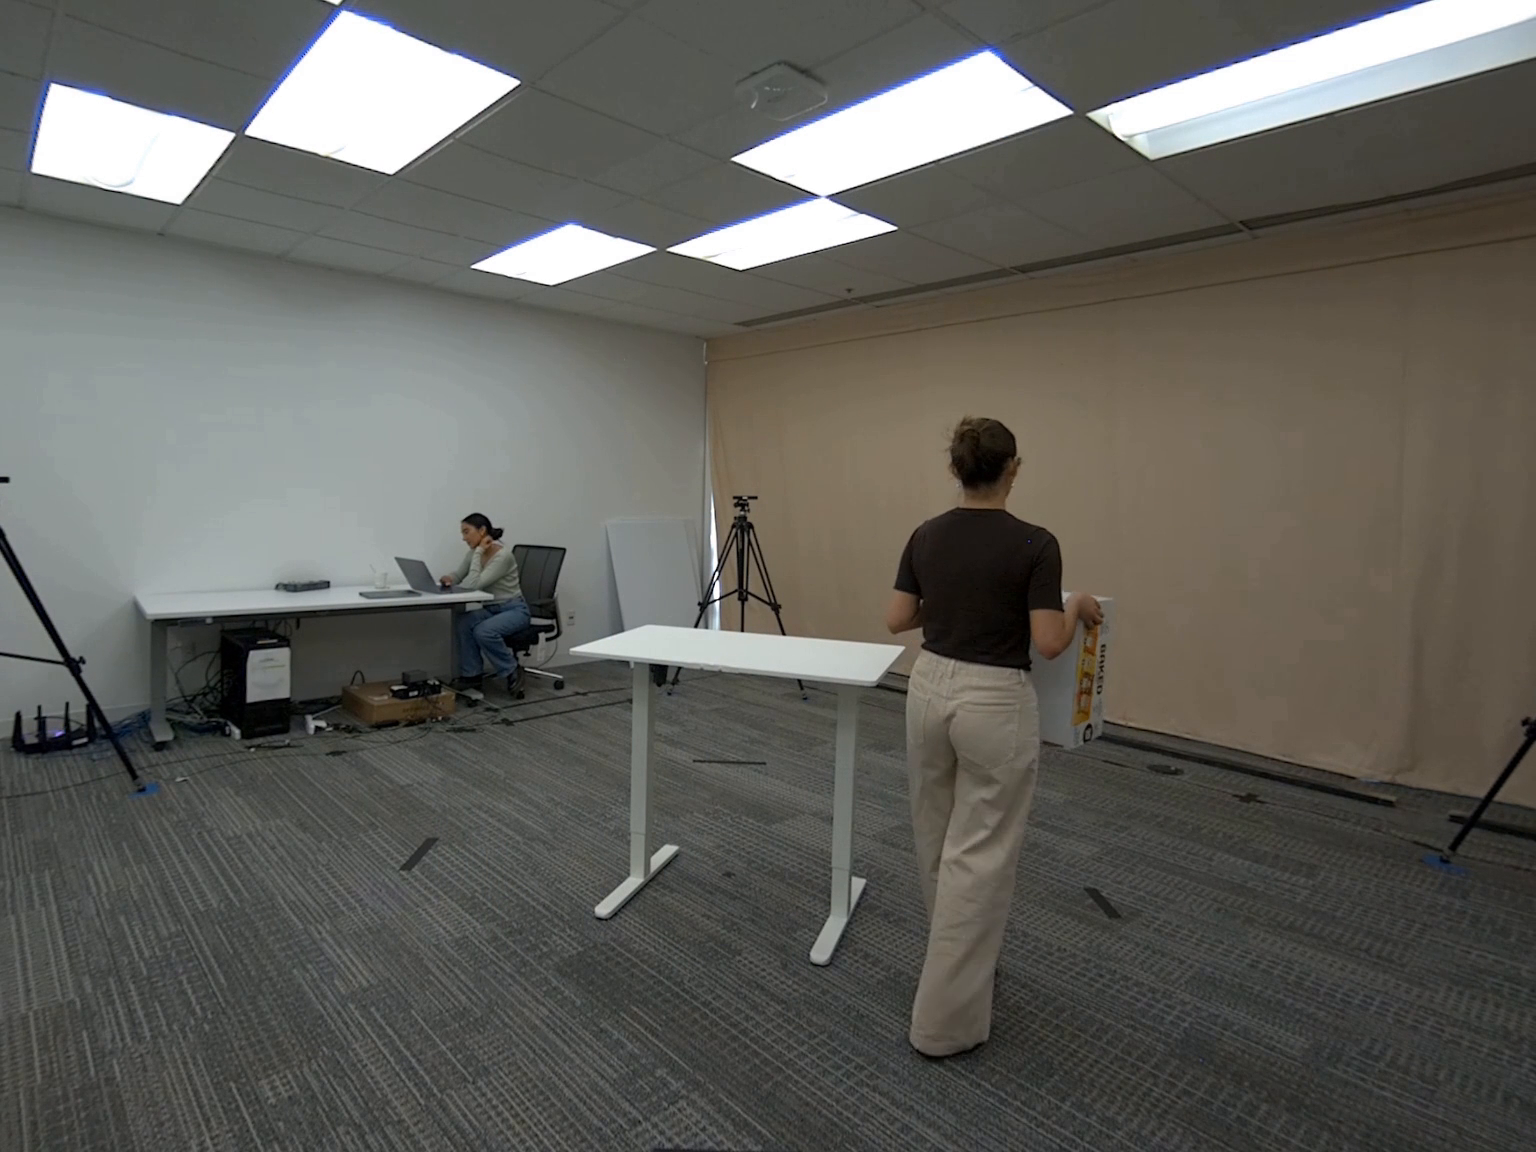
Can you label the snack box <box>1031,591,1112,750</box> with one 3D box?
[{"bbox_3d":[0.772,0.246,2.464,0.349,0.403,0.201,9,8,42],"label":"snack box"}]
